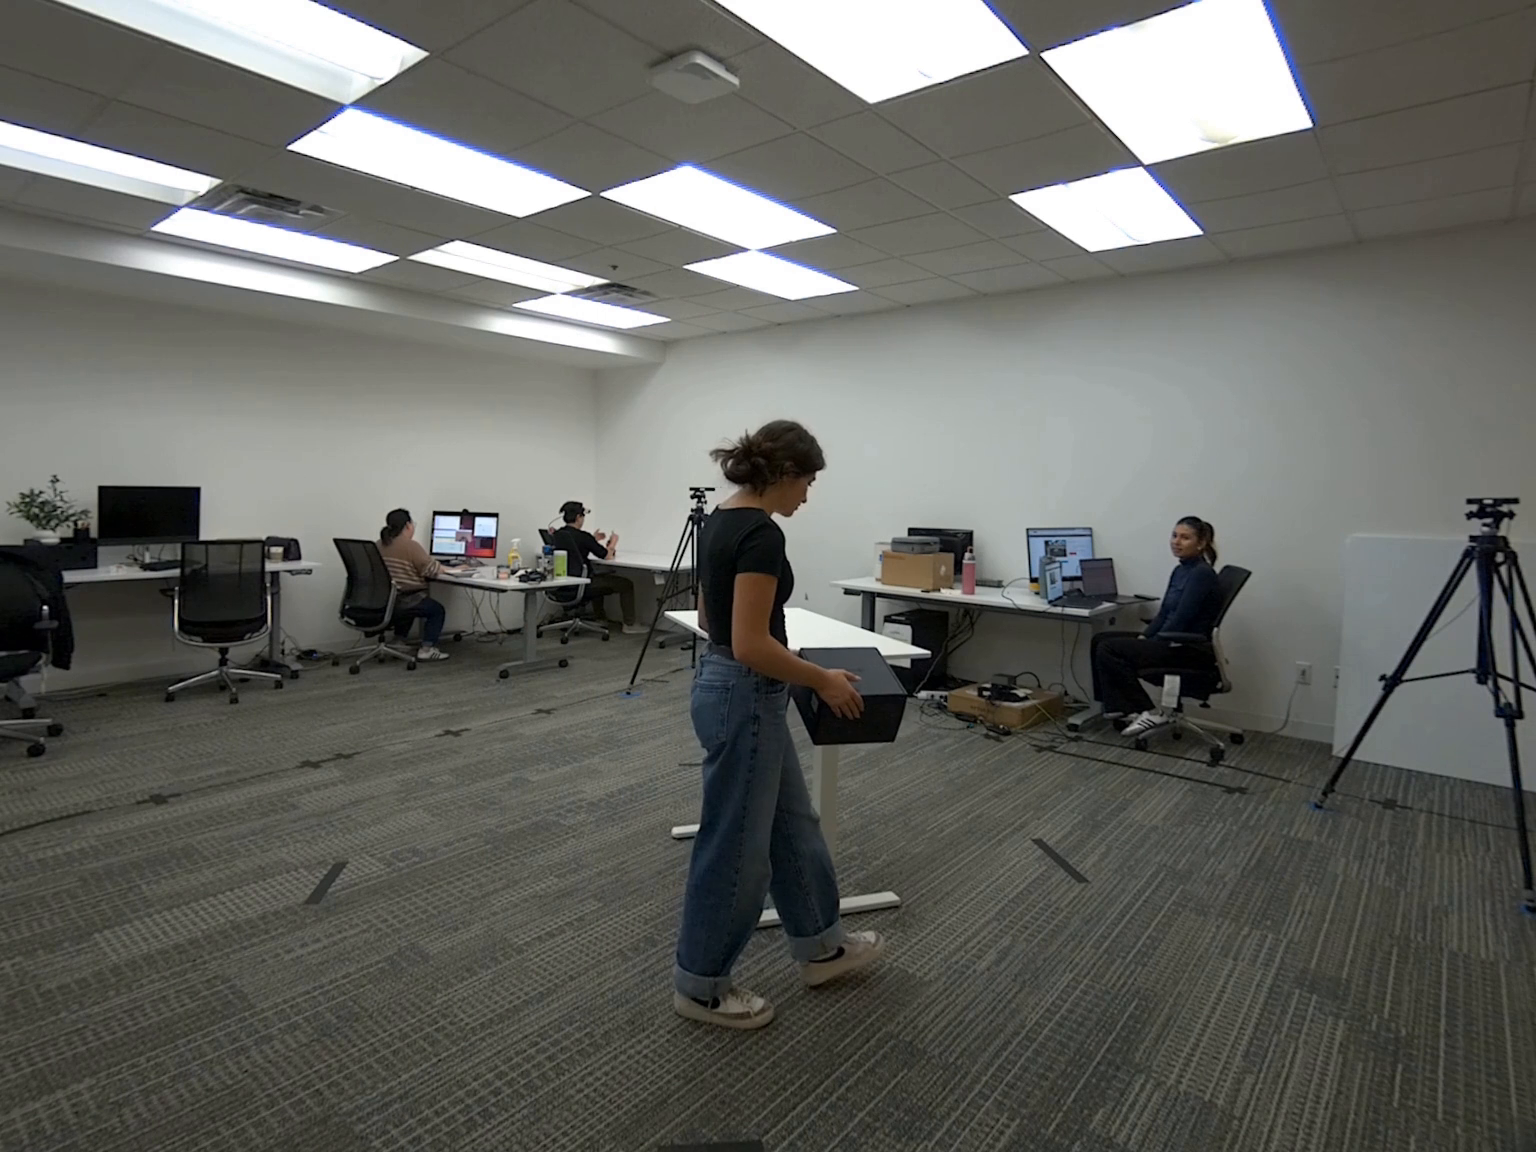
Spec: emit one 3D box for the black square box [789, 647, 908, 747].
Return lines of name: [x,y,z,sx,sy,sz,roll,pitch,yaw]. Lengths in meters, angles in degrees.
black square box: [0.209,0.310,2.239,0.224,0.153,0.225,-1,26,-18]
